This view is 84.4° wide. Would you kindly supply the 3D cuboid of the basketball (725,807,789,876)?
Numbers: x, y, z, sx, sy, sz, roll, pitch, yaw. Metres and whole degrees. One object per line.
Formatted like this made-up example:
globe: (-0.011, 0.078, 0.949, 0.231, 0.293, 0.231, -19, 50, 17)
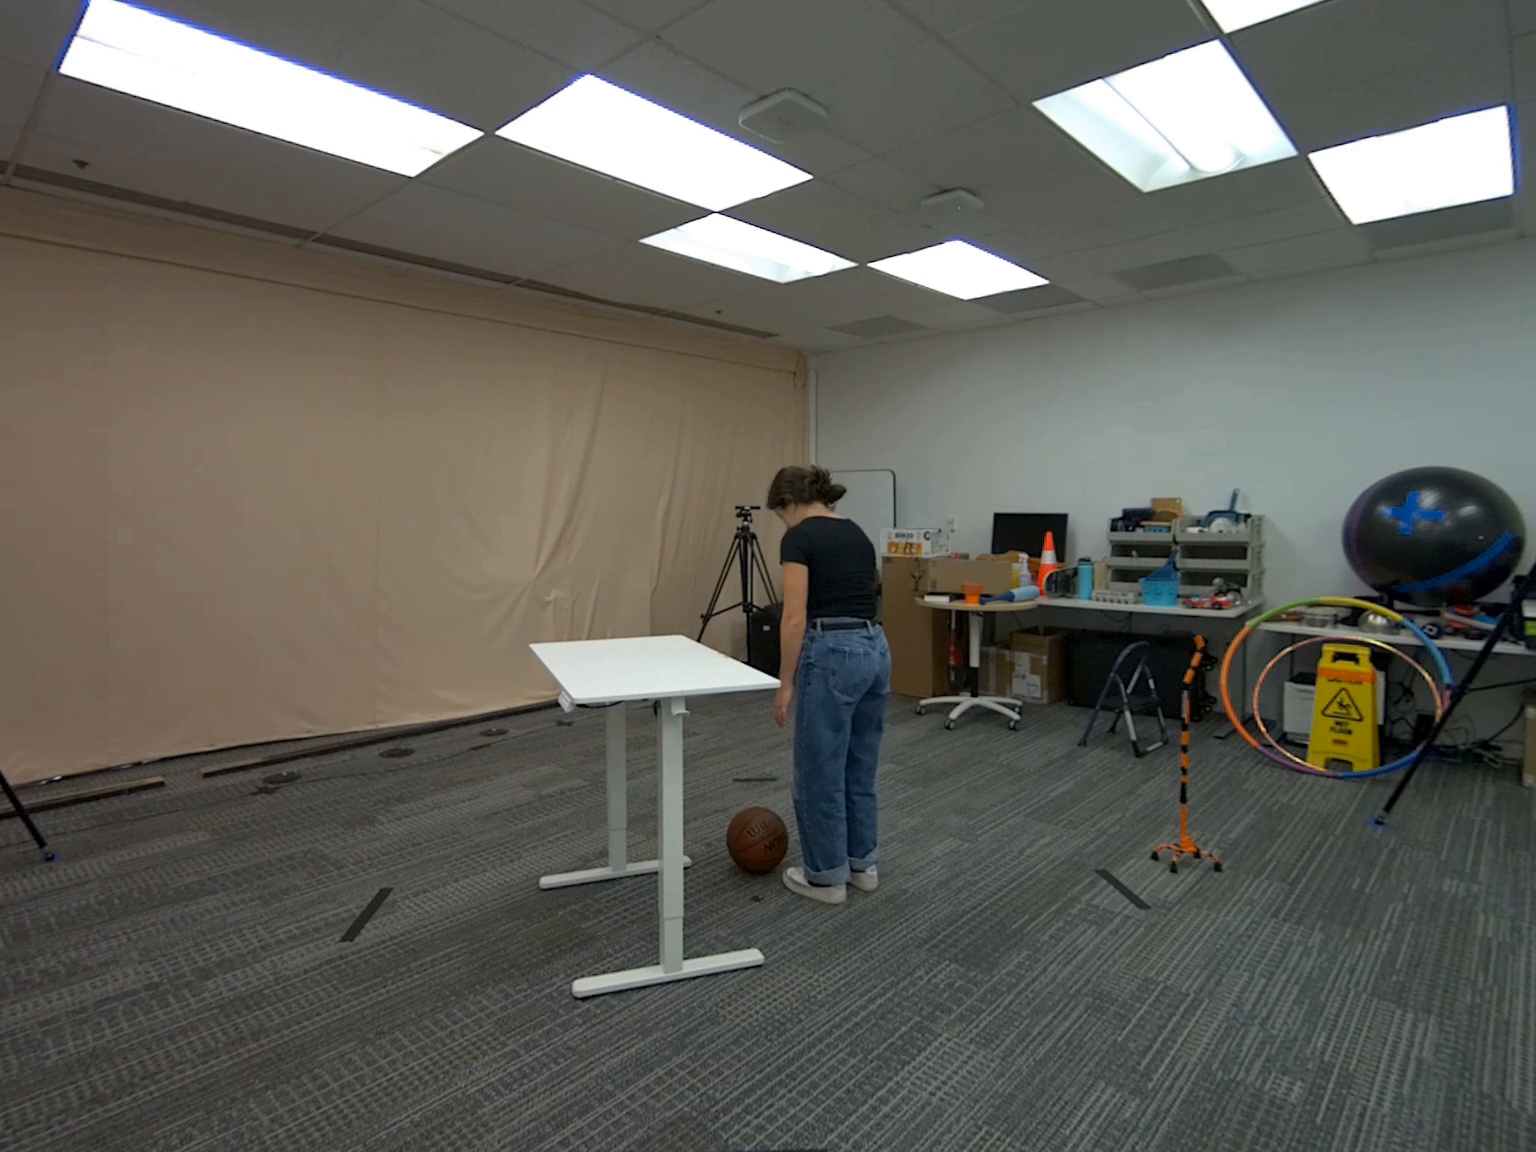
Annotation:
basketball: (-0.033, 1.000, 3.212, 0.236, 0.235, 0.237, 0, 4, -2)
